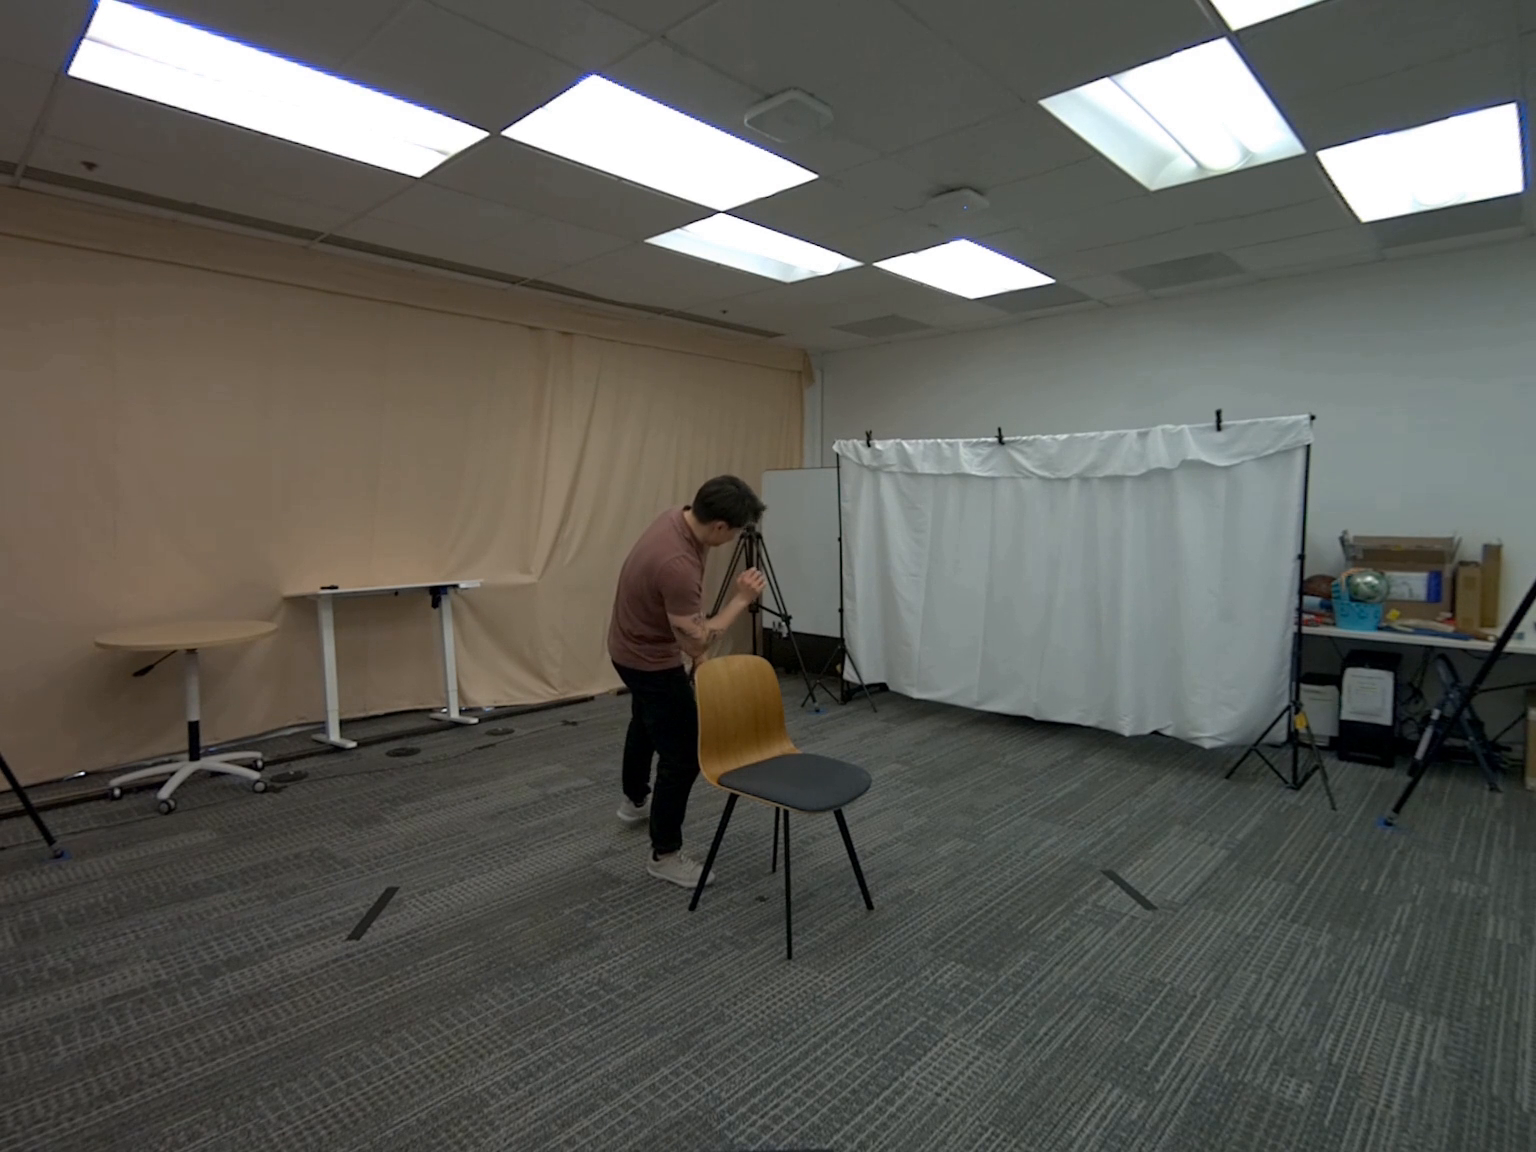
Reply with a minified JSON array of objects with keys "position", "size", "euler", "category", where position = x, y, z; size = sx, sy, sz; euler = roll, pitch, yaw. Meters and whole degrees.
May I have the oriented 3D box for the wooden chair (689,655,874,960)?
[{"position":[0.057,0.728,2.860],"size":[0.539,0.877,0.463],"euler":[-3,0,43],"category":"wooden chair"}]
